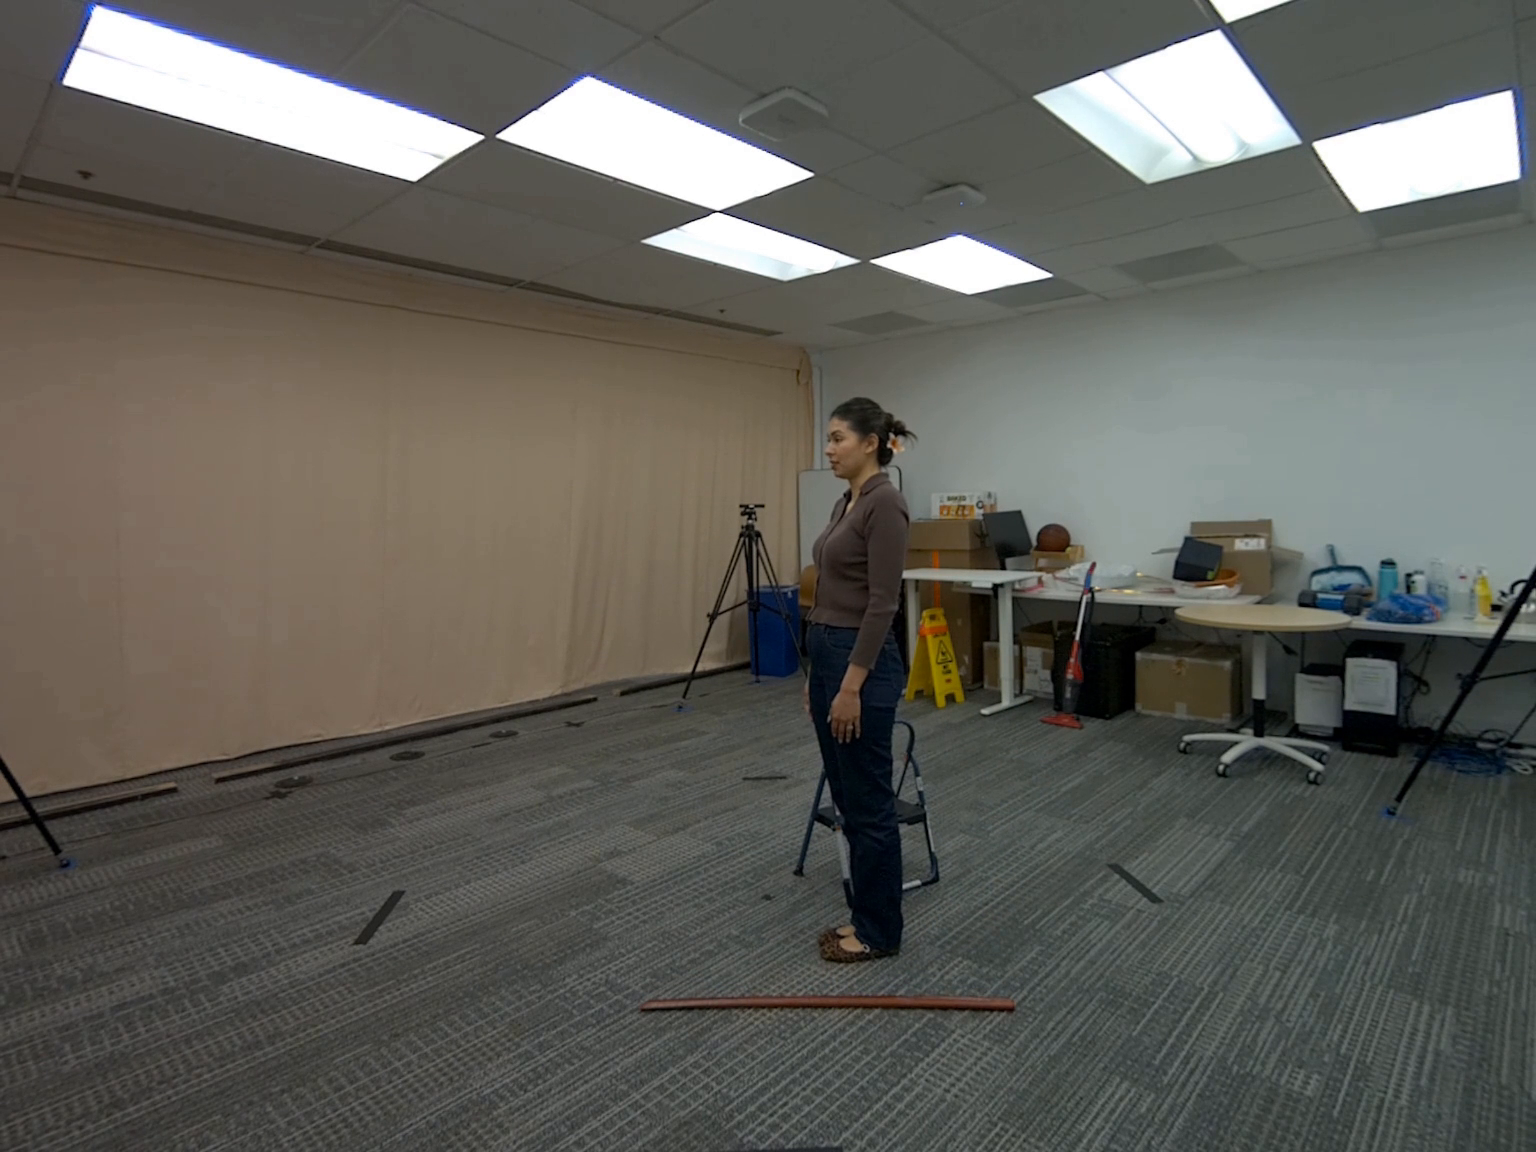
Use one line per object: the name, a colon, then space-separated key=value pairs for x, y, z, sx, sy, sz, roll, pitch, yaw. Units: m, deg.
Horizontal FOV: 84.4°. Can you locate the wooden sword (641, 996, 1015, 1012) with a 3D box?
wooden sword: x=0.162 y=1.161 z=2.343 sx=1.027 sy=0.050 sz=0.024 roll=0 pitch=24 yaw=2
